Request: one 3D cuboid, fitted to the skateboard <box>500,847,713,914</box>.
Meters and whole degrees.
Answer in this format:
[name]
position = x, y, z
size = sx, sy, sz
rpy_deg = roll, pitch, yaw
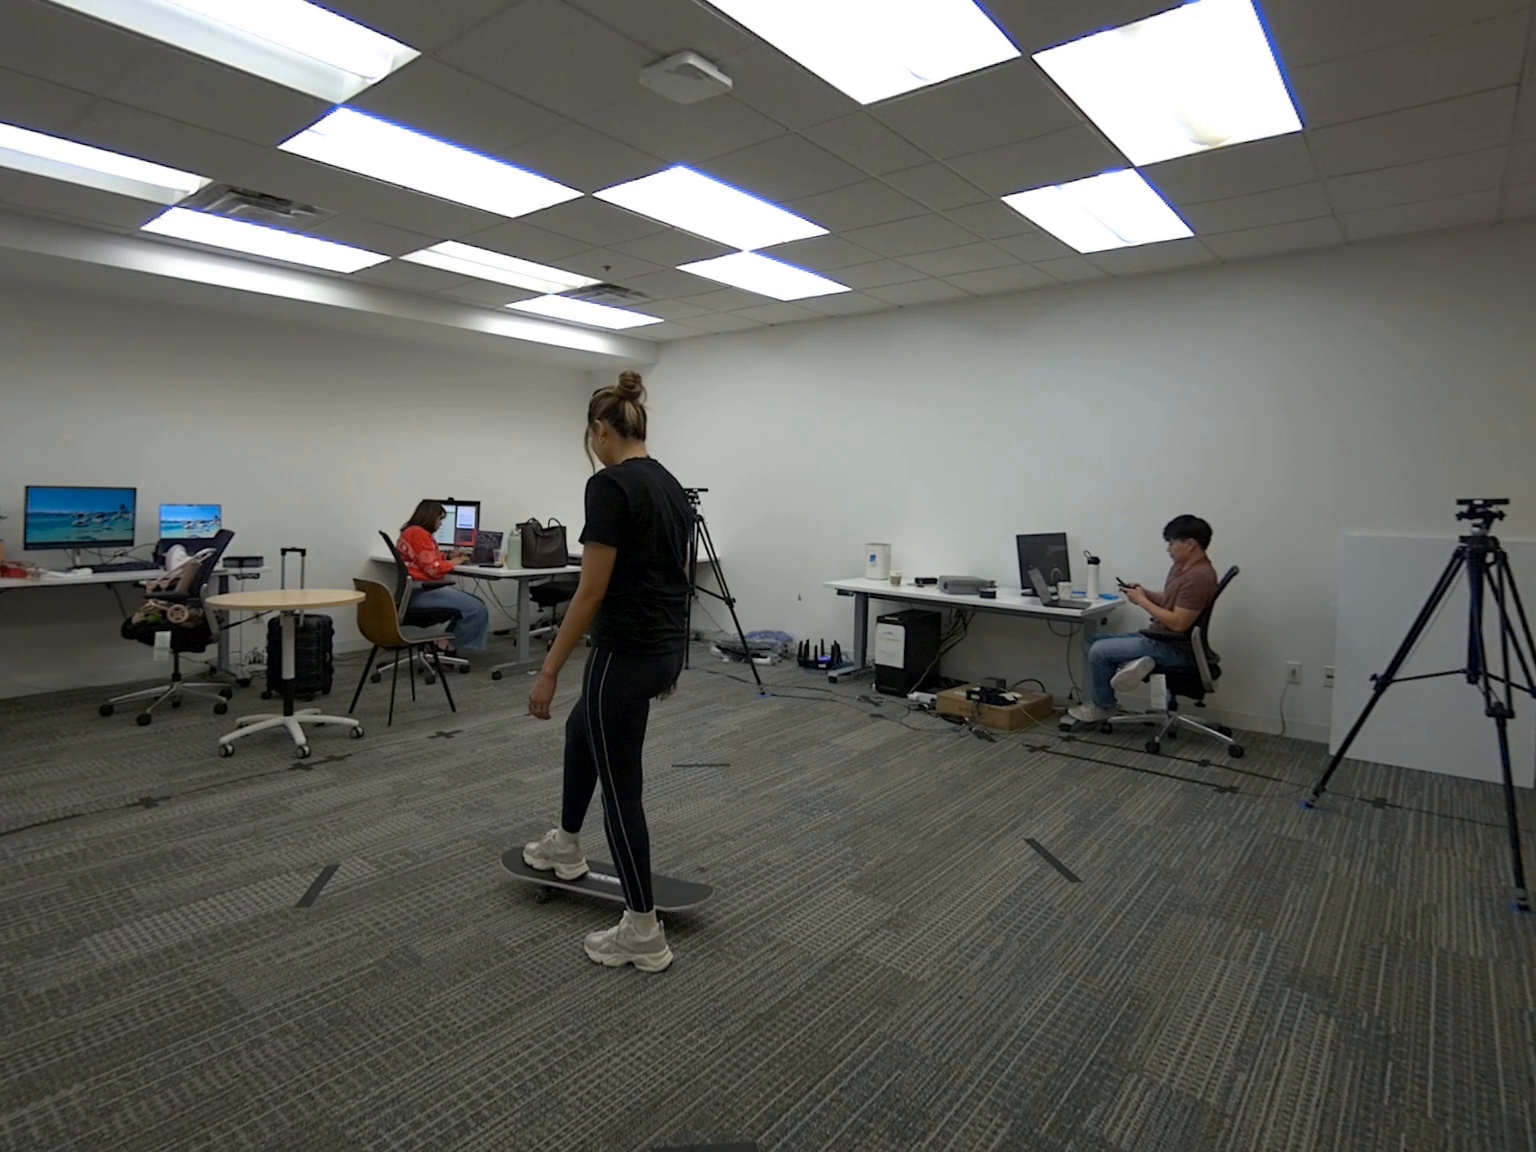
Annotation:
[skateboard]
position = -0.554, 1.037, 2.830
size = 0.804, 0.110, 0.190
rpy_deg = 3, 6, 22
